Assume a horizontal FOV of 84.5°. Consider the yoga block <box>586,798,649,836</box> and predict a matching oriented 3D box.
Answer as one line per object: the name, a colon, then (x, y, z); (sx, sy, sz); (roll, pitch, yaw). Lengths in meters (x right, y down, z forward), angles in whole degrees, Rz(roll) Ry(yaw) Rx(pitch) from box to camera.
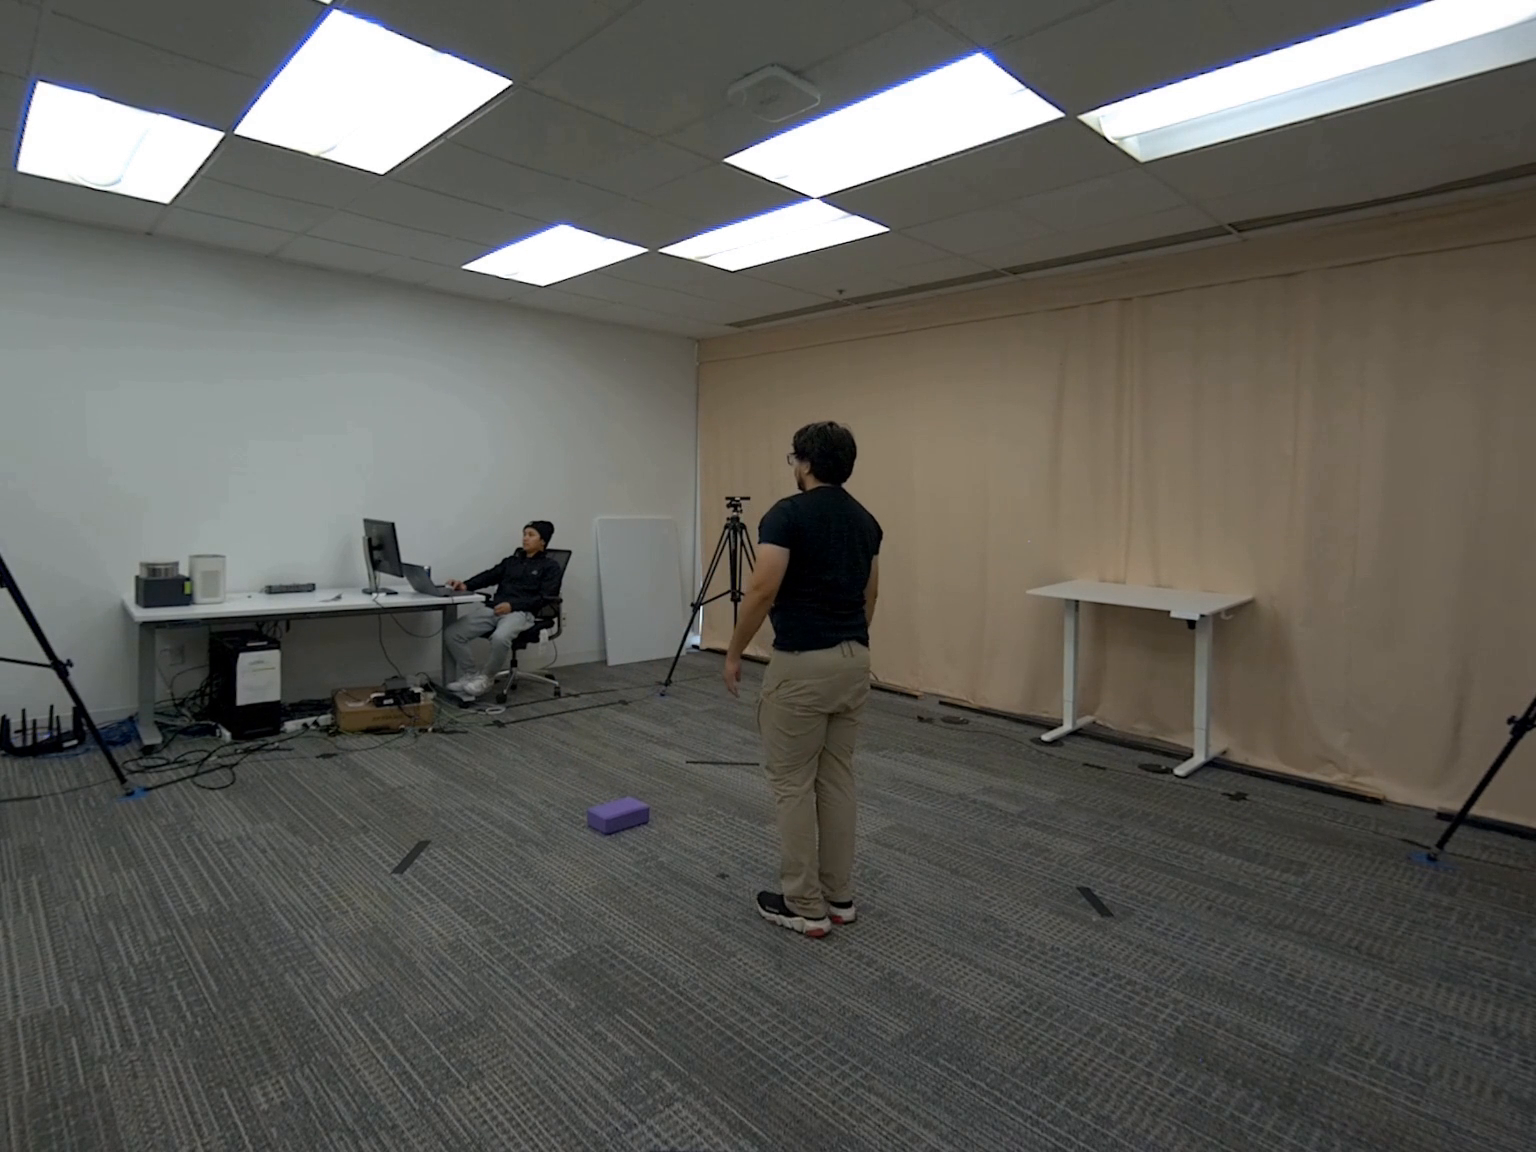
yoga block: (-0.642, 1.015, 3.572); (0.153, 0.076, 0.224); (6, 7, 44)
